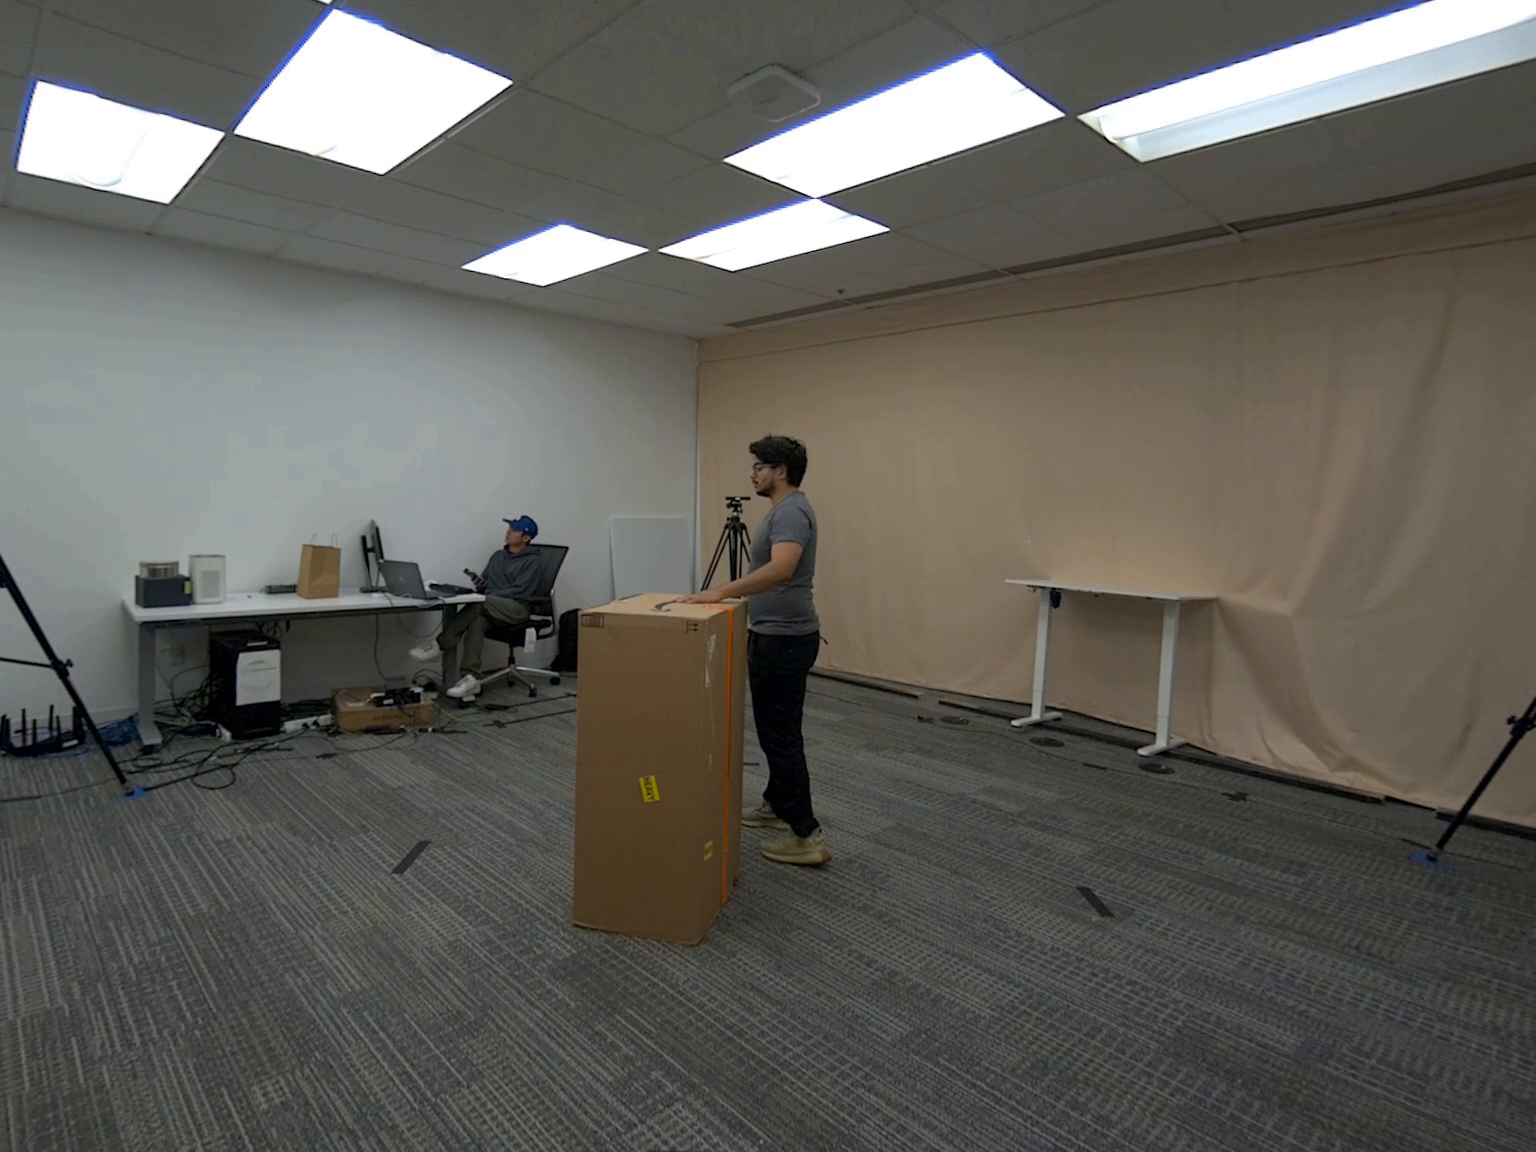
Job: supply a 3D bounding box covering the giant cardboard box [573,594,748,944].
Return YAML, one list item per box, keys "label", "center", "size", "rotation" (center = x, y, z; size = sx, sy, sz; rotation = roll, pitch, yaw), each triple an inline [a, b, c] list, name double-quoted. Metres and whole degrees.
- label: "giant cardboard box"
  center: [-0.354, 0.609, 2.909]
  size: [0.431, 1.024, 0.572]
  rotation: [2, 3, 14]
